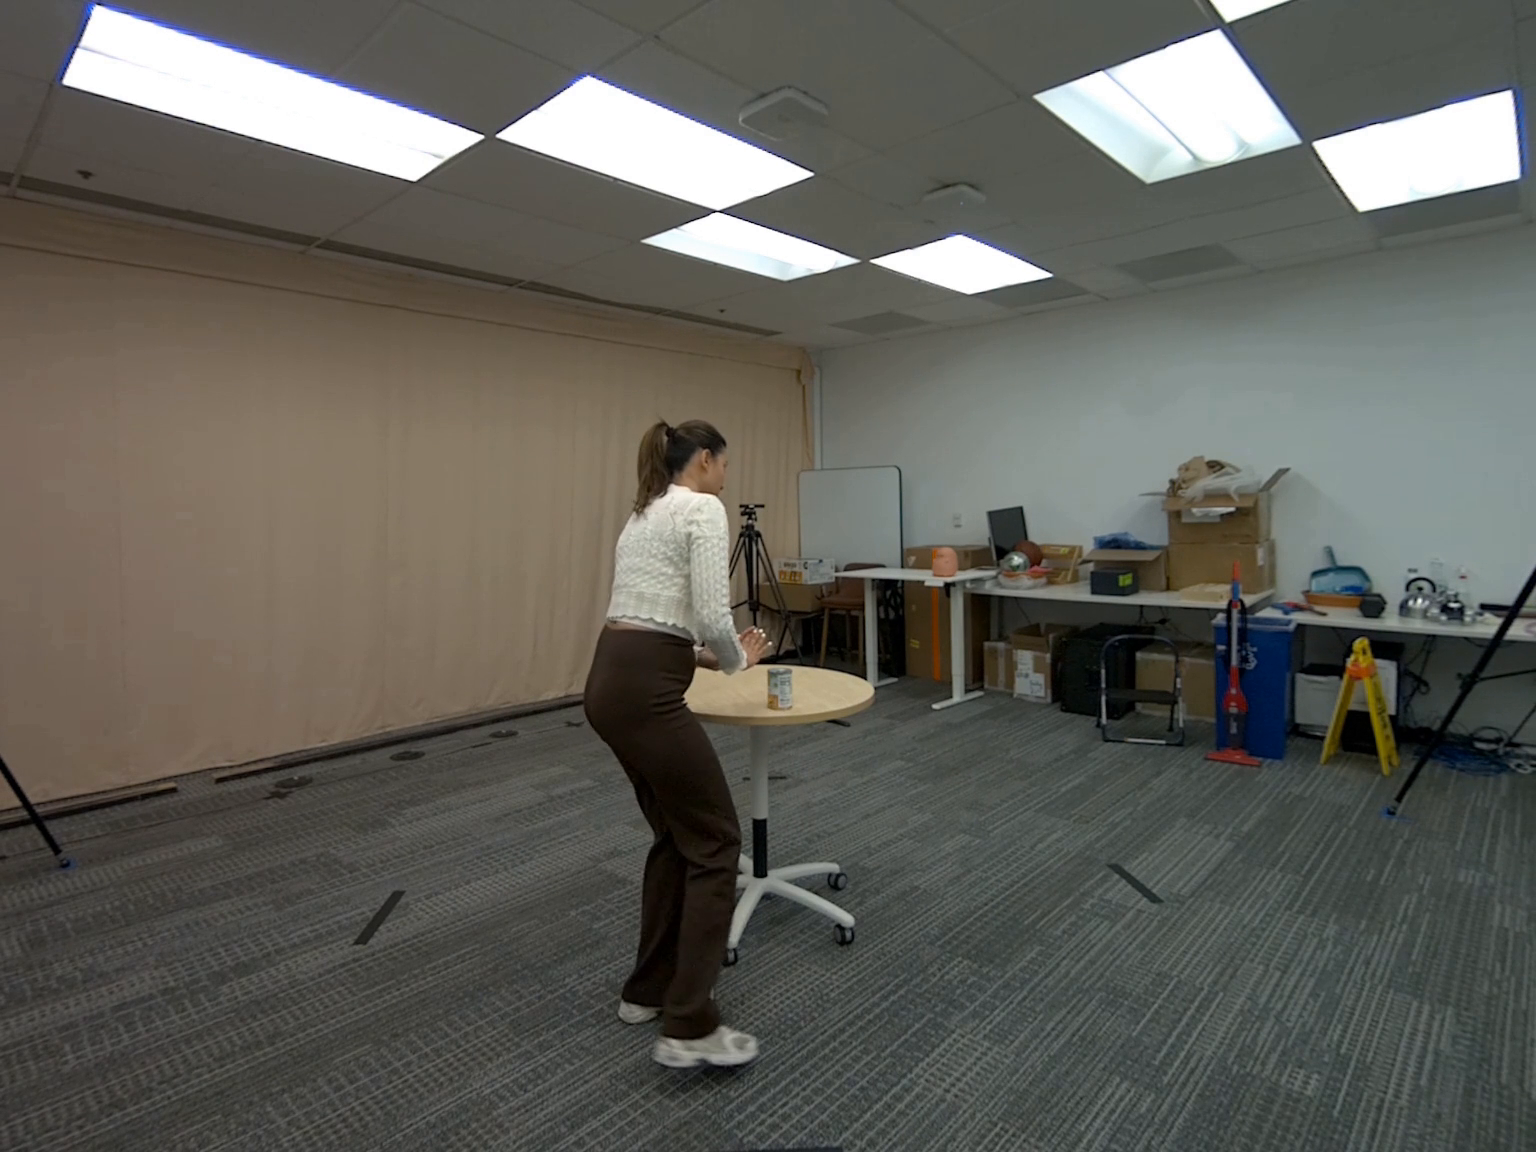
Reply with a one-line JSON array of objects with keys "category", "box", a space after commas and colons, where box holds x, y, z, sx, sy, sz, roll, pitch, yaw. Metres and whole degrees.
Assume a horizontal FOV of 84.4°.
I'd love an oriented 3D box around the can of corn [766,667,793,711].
[{"category": "can of corn", "box": [0.042, 0.341, 2.524, 0.074, 0.110, 0.074, 0, 6, -2]}]
